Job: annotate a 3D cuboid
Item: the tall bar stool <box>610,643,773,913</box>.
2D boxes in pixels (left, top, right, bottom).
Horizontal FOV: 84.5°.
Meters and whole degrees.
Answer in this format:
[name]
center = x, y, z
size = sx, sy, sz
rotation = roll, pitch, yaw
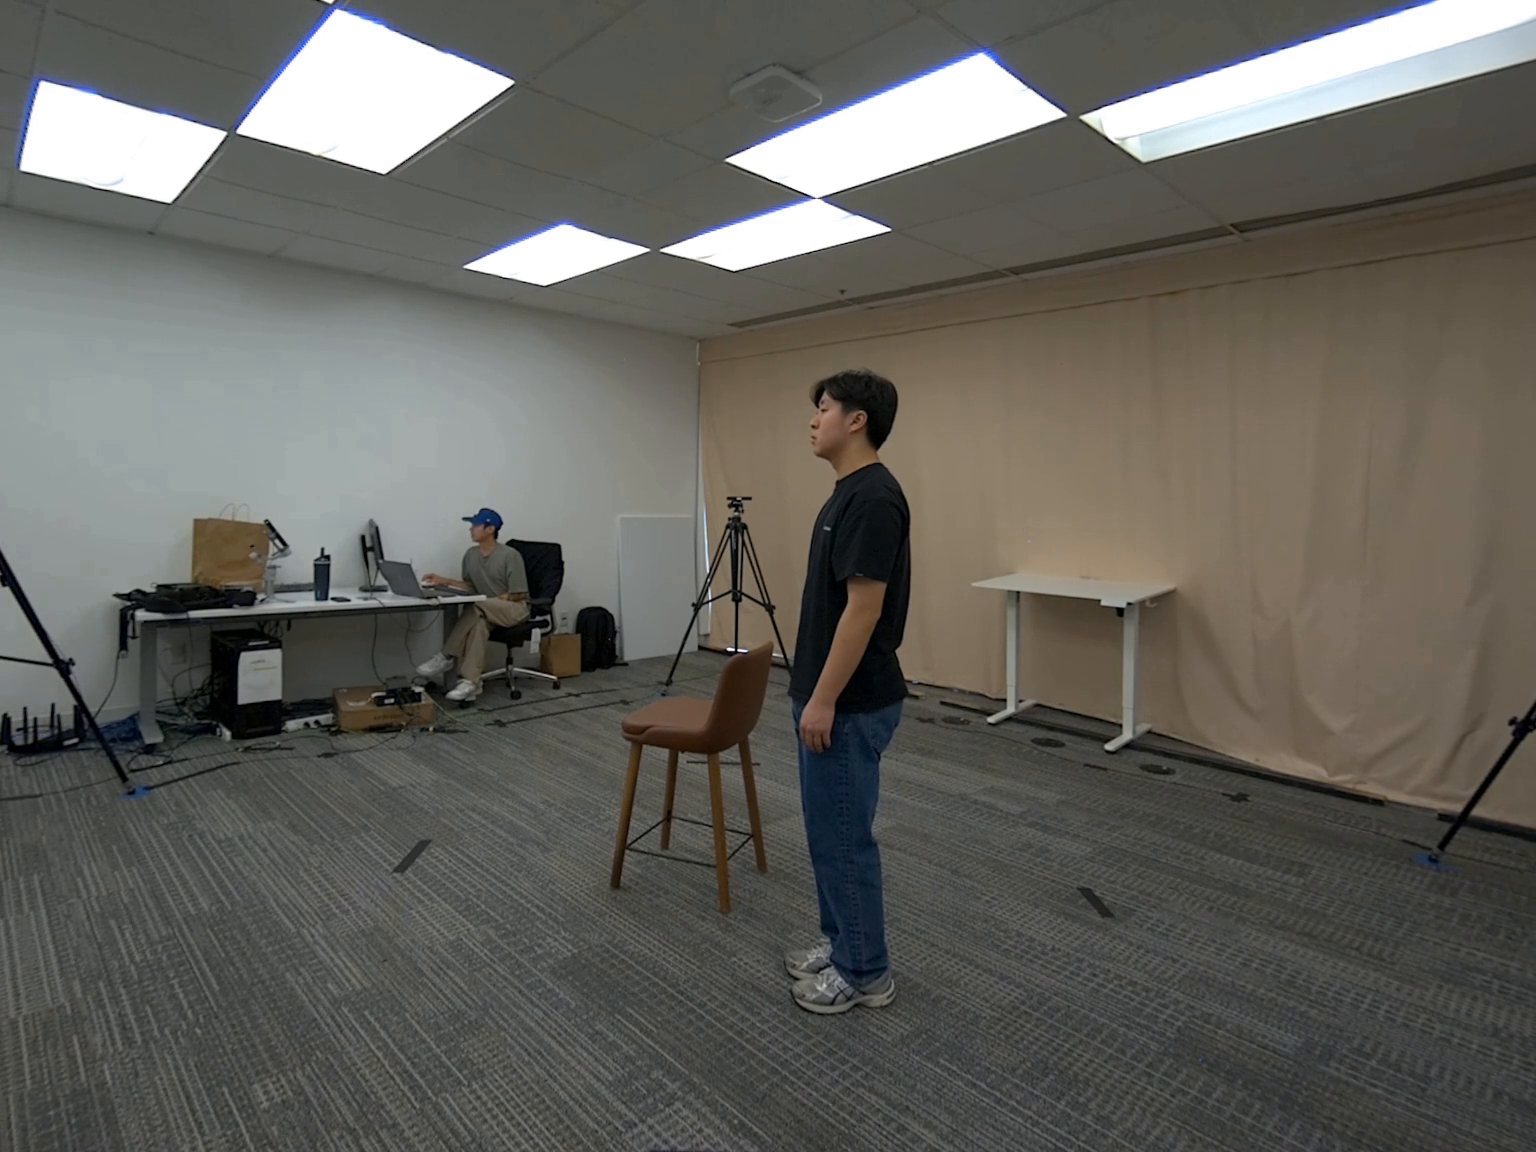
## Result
[tall bar stool]
center = -0.268, 0.676, 3.047
size = 0.476, 0.887, 0.449
rotation = 5, 5, 23
